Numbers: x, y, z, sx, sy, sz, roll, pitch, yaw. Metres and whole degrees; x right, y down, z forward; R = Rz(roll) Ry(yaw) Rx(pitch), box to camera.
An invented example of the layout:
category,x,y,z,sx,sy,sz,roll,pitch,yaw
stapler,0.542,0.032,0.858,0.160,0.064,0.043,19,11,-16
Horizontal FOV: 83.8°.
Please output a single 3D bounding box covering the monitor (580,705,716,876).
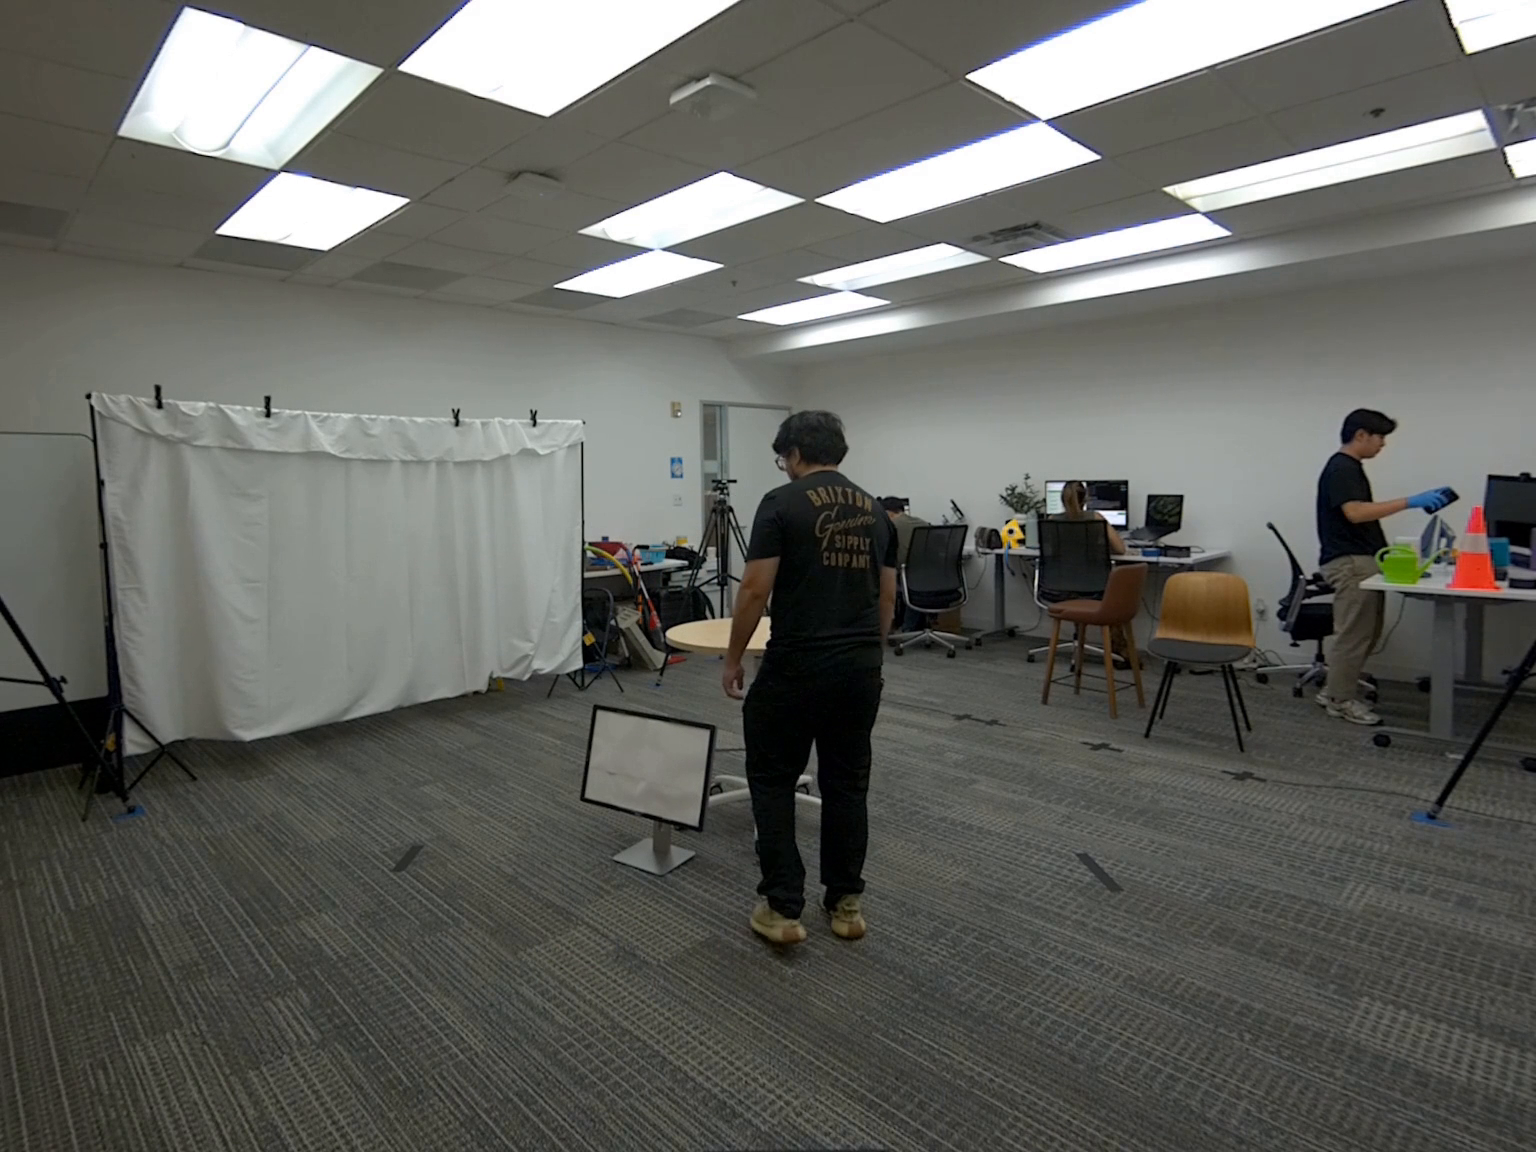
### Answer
category,x,y,z,sx,sy,sz,roll,pitch,yaw
monitor,-0.410,0.780,3.169,0.581,0.555,0.204,2,-2,32
